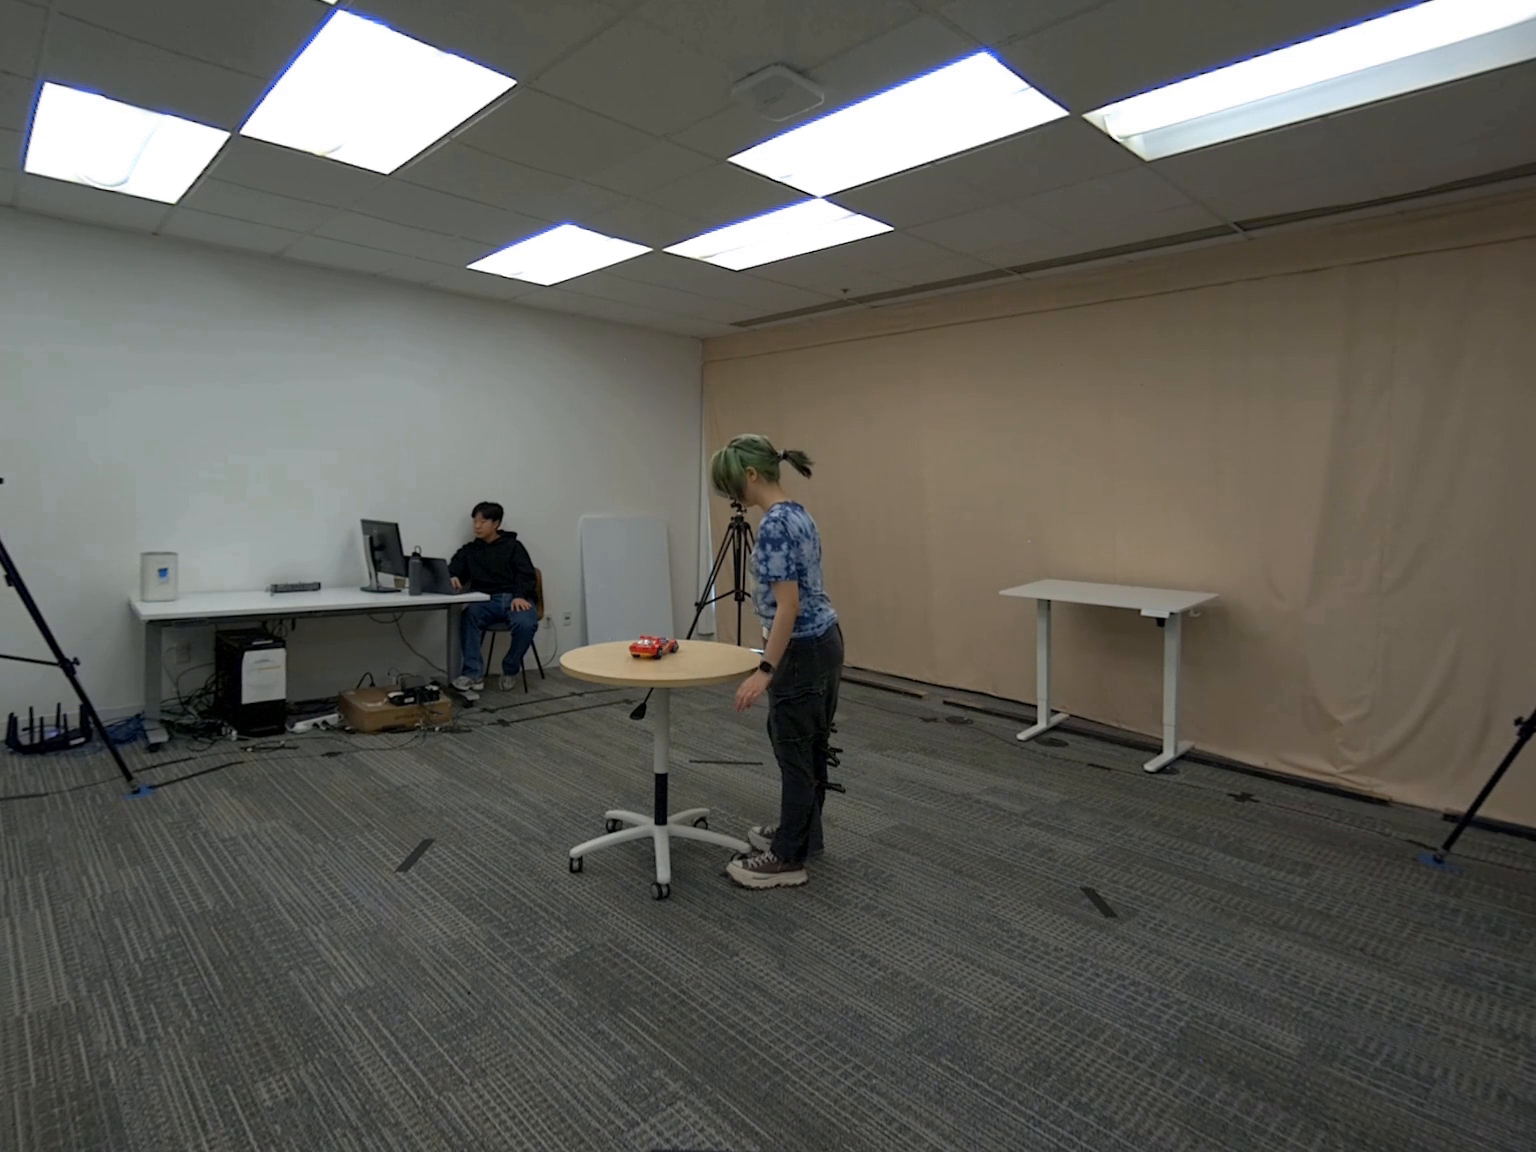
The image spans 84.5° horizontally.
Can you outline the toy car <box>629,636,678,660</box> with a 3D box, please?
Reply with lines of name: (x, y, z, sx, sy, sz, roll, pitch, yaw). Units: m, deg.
toy car: (-0.443, 0.273, 3.205, 0.132, 0.083, 0.249, 3, -5, 19)
